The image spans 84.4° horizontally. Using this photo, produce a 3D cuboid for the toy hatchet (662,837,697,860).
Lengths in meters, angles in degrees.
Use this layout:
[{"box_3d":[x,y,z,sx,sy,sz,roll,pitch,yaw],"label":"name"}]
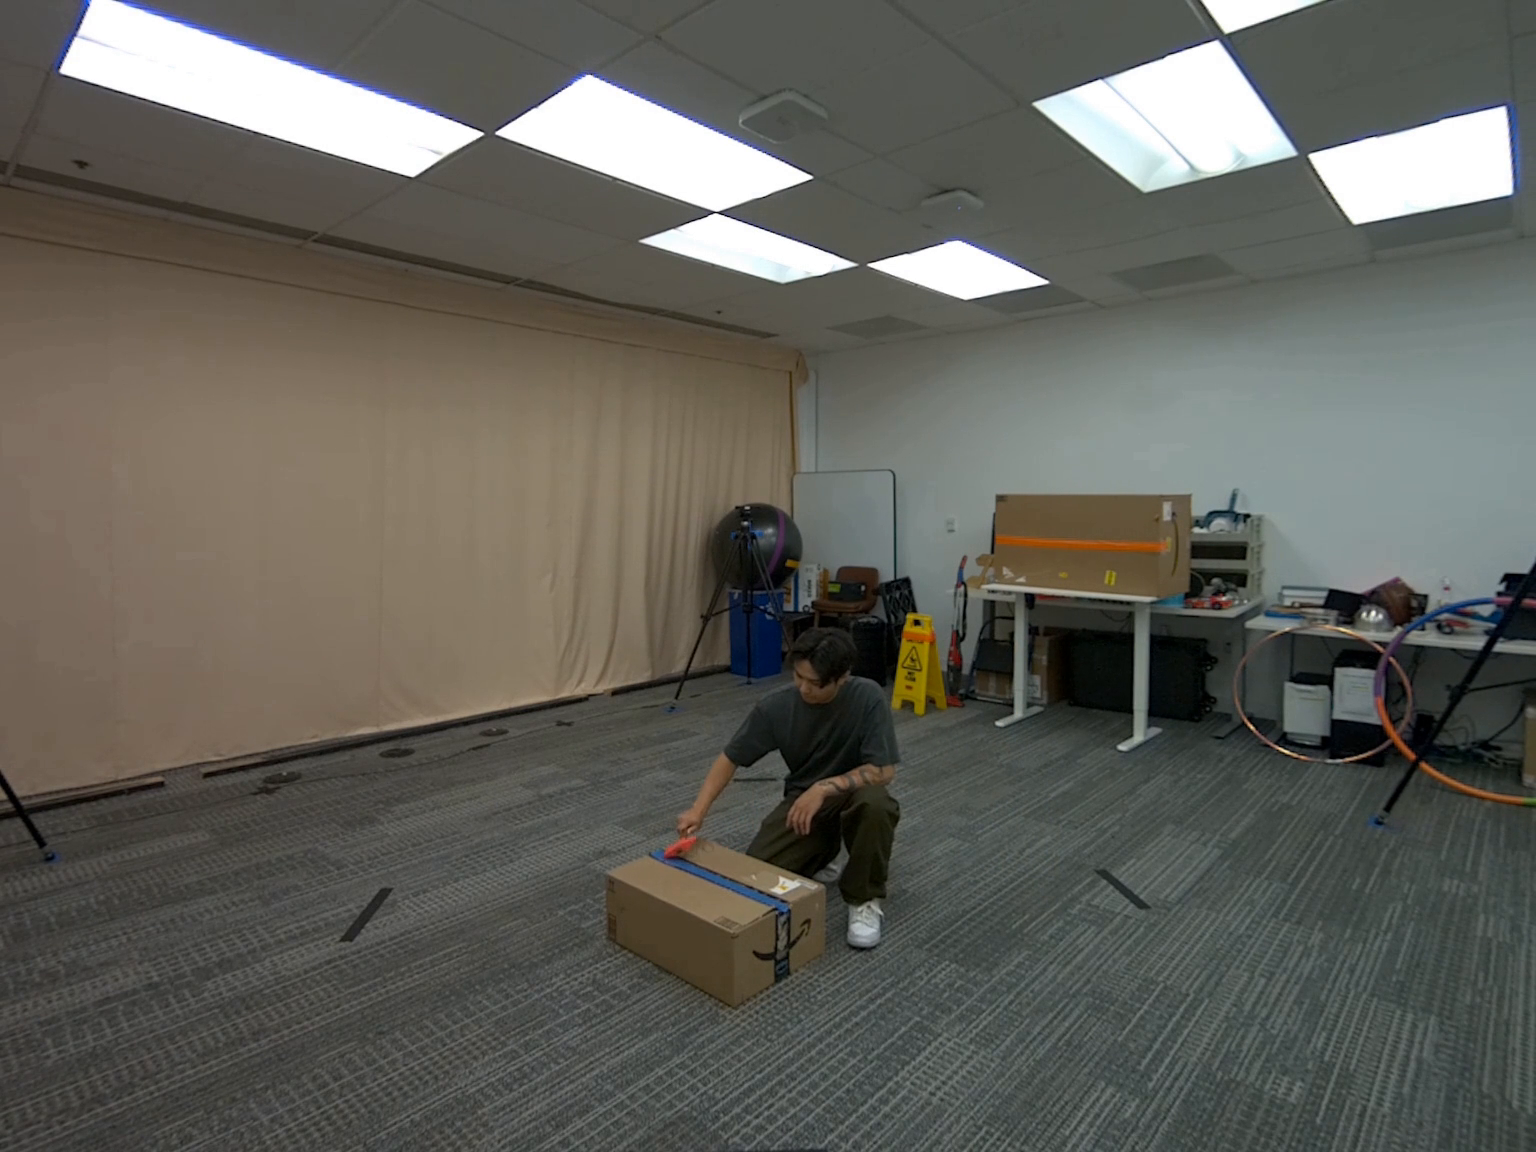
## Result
[{"box_3d":[-0.299,0.907,2.915,0.130,0.029,0.272,-36,4,-8],"label":"toy hatchet"}]
